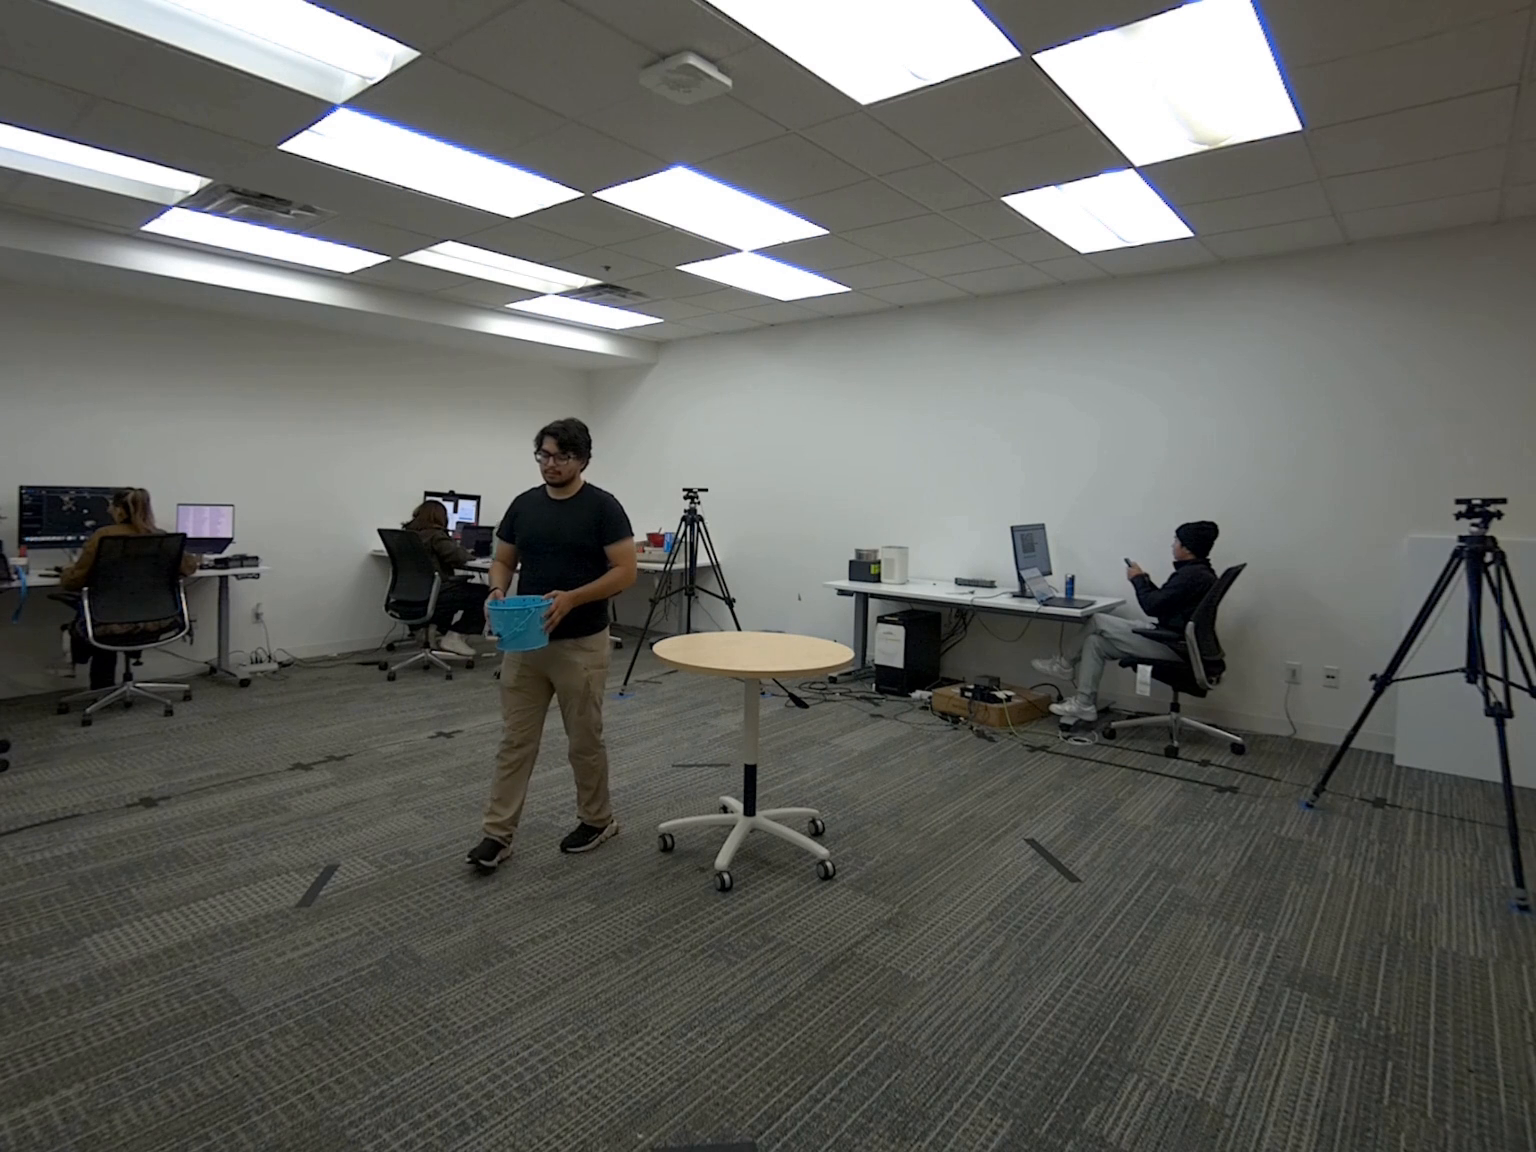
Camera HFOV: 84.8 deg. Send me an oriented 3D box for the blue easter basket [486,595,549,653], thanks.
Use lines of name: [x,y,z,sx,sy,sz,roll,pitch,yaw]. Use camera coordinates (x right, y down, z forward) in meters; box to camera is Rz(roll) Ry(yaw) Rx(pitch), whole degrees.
blue easter basket: [-0.891,0.162,2.958,0.243,0.155,0.245,-1,6,-2]
